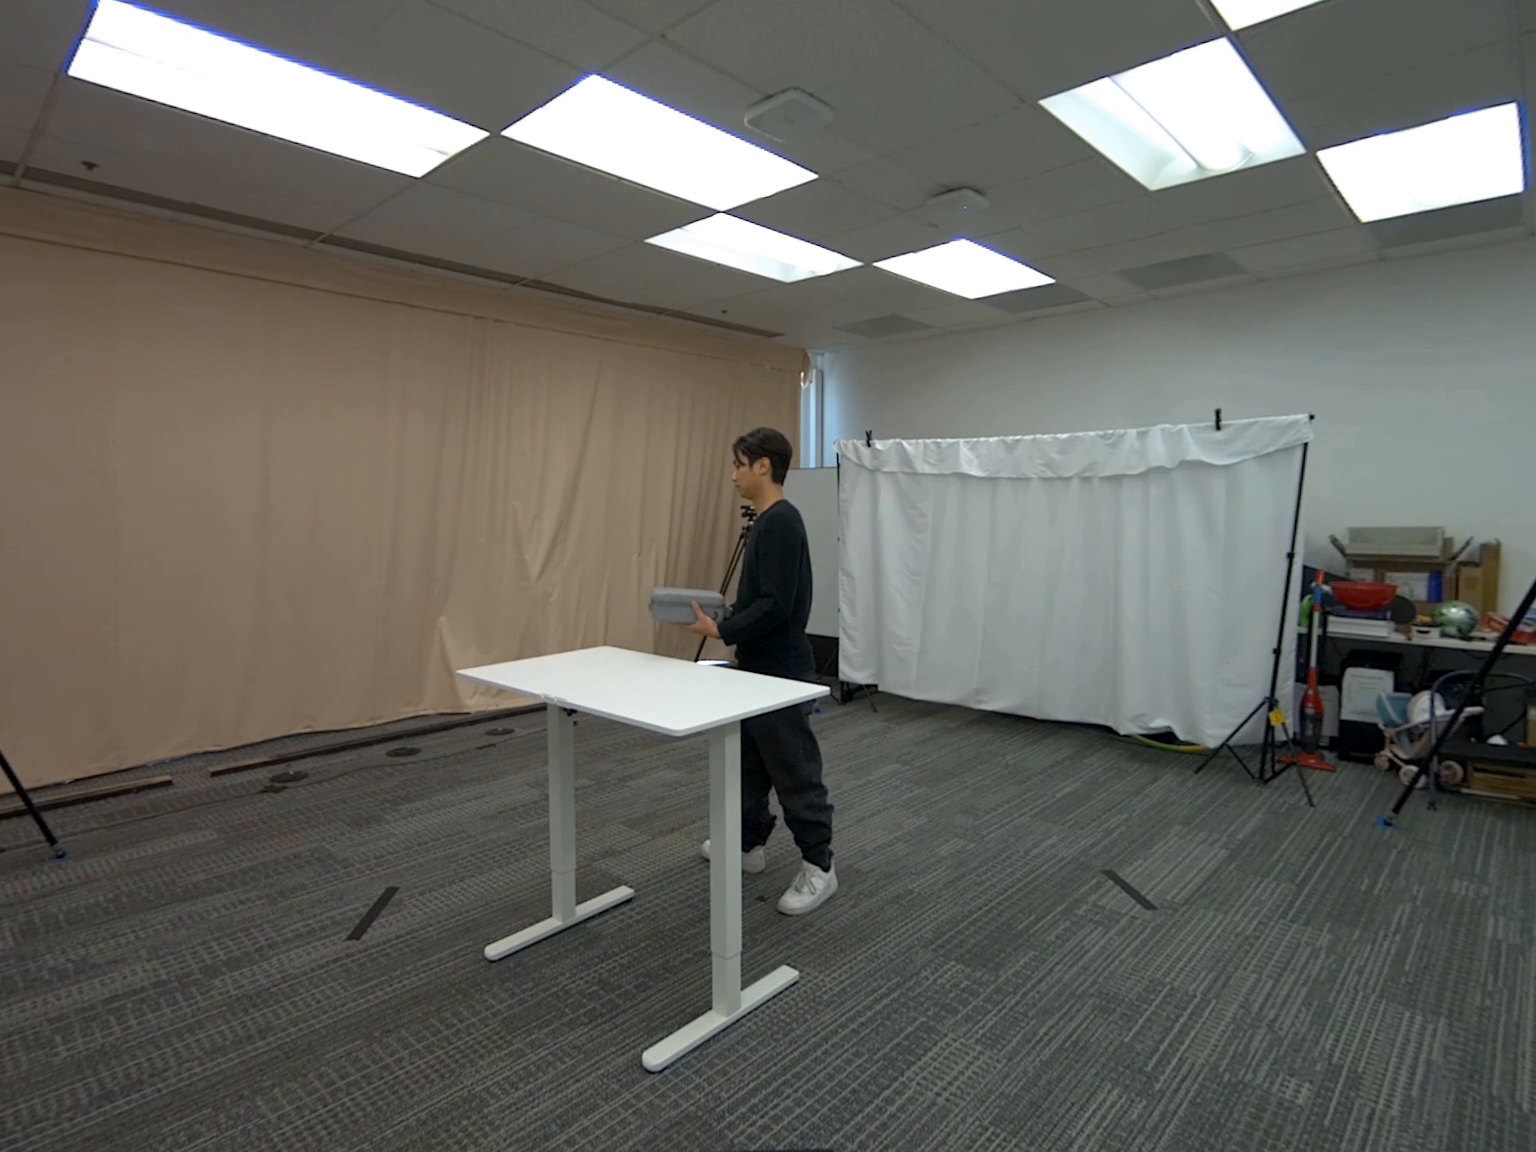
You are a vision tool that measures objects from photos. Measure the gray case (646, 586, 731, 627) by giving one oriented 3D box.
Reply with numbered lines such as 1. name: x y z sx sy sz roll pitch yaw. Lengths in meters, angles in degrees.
1. gray case: -0.274 0.109 2.955 0.258 0.104 0.260 6 3 3
